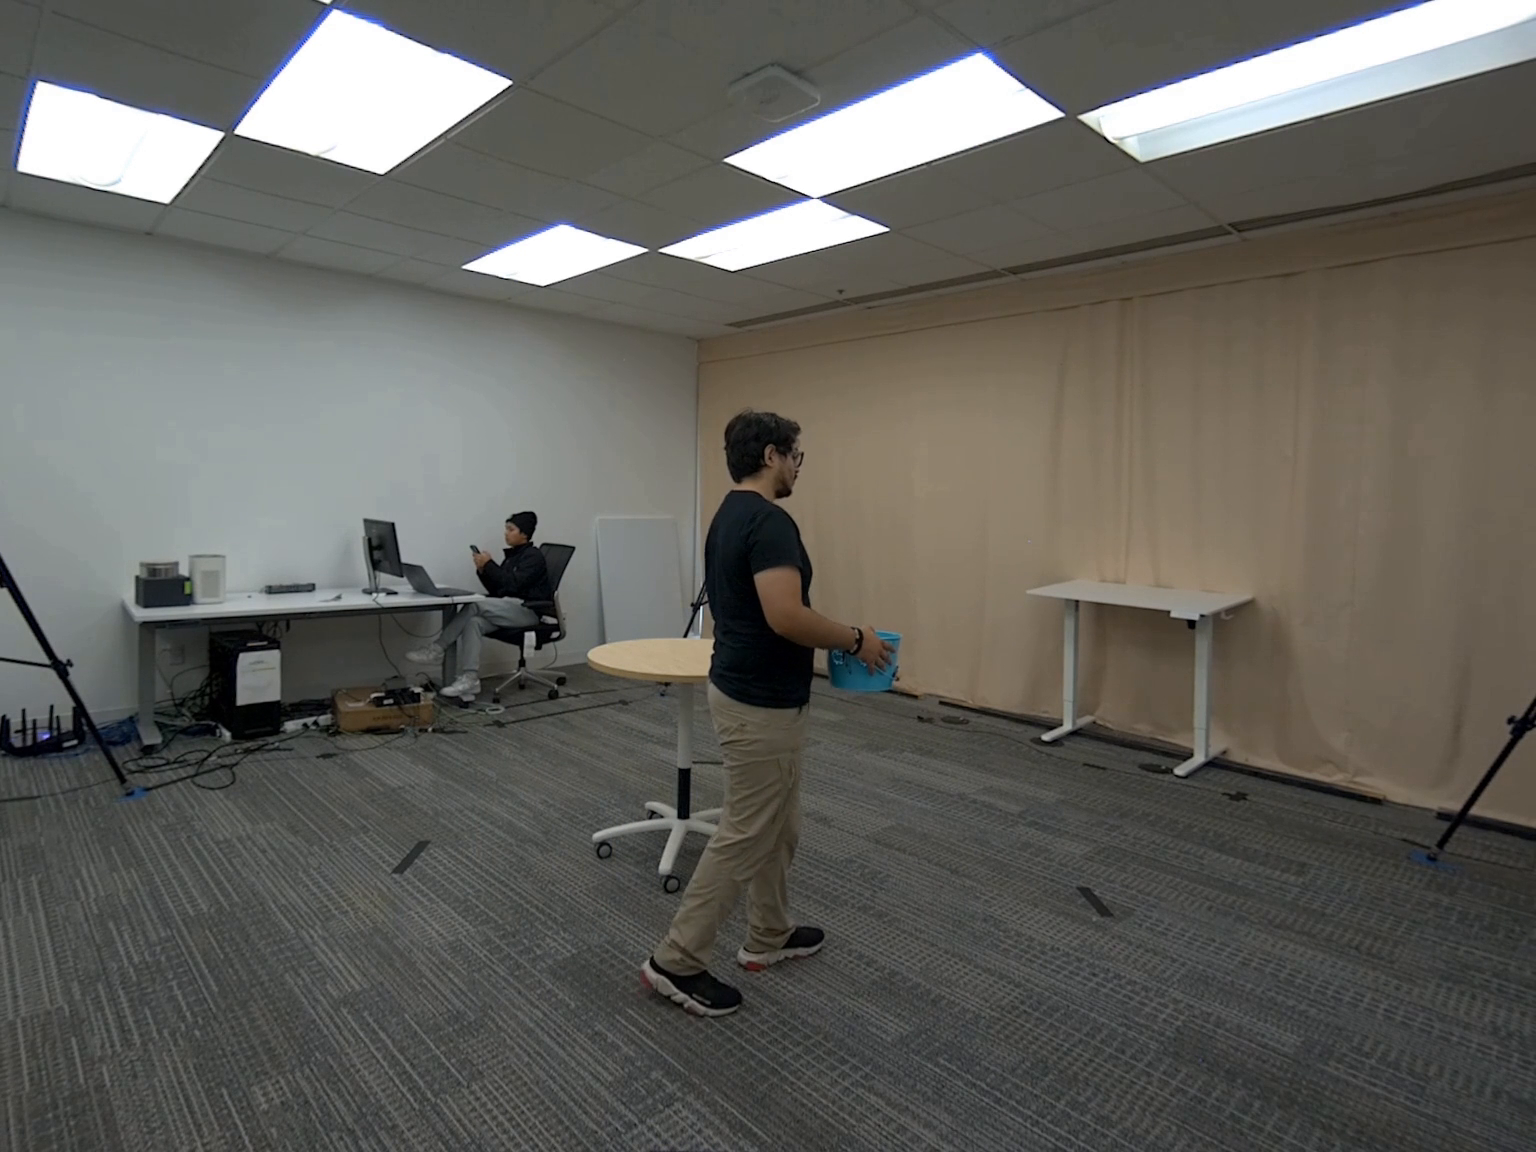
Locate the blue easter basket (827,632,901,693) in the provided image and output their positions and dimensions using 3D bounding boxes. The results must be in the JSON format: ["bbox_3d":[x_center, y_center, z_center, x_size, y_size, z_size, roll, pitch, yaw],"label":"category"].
[{"bbox_3d":[0.265,0.252,2.436,0.243,0.155,0.244,1,3,-1],"label":"blue easter basket"}]
